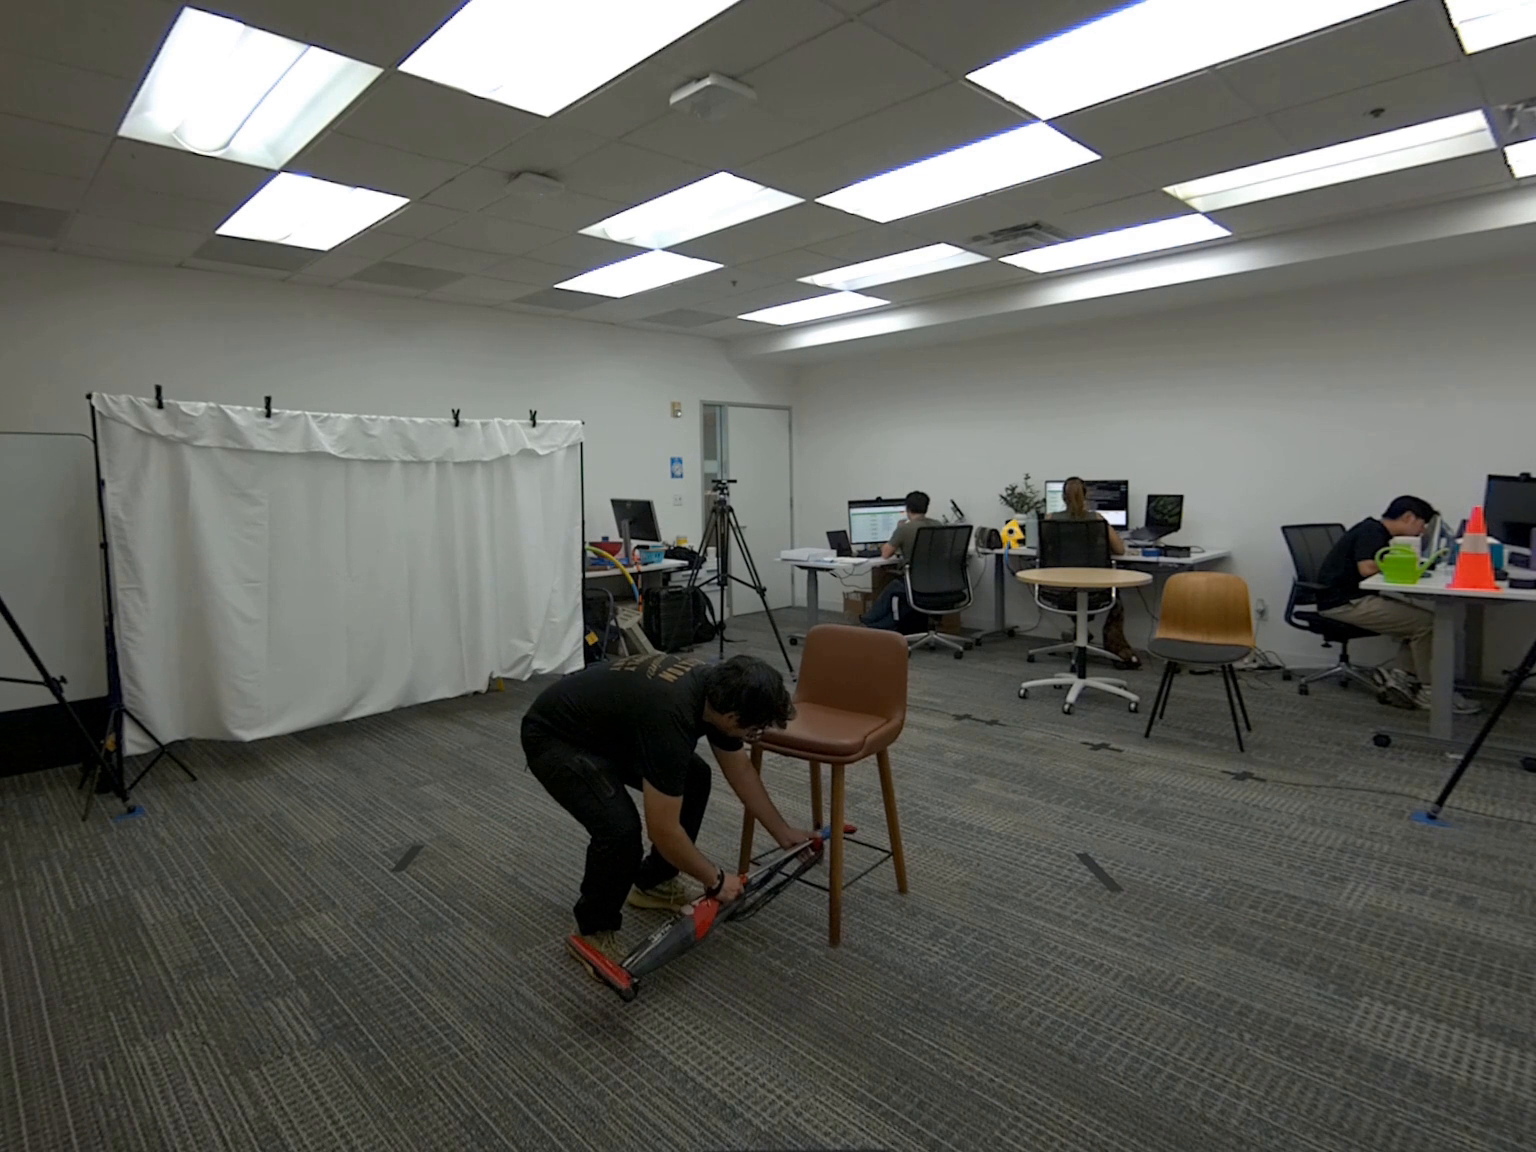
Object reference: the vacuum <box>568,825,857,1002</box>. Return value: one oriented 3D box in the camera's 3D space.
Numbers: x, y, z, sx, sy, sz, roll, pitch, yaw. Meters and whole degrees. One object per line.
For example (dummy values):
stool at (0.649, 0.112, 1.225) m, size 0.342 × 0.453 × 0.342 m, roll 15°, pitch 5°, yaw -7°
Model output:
vacuum at (-0.071, 0.958, 2.533) m, size 1.023 × 0.143 × 0.261 m, roll -9°, pitch 15°, yaw -44°
